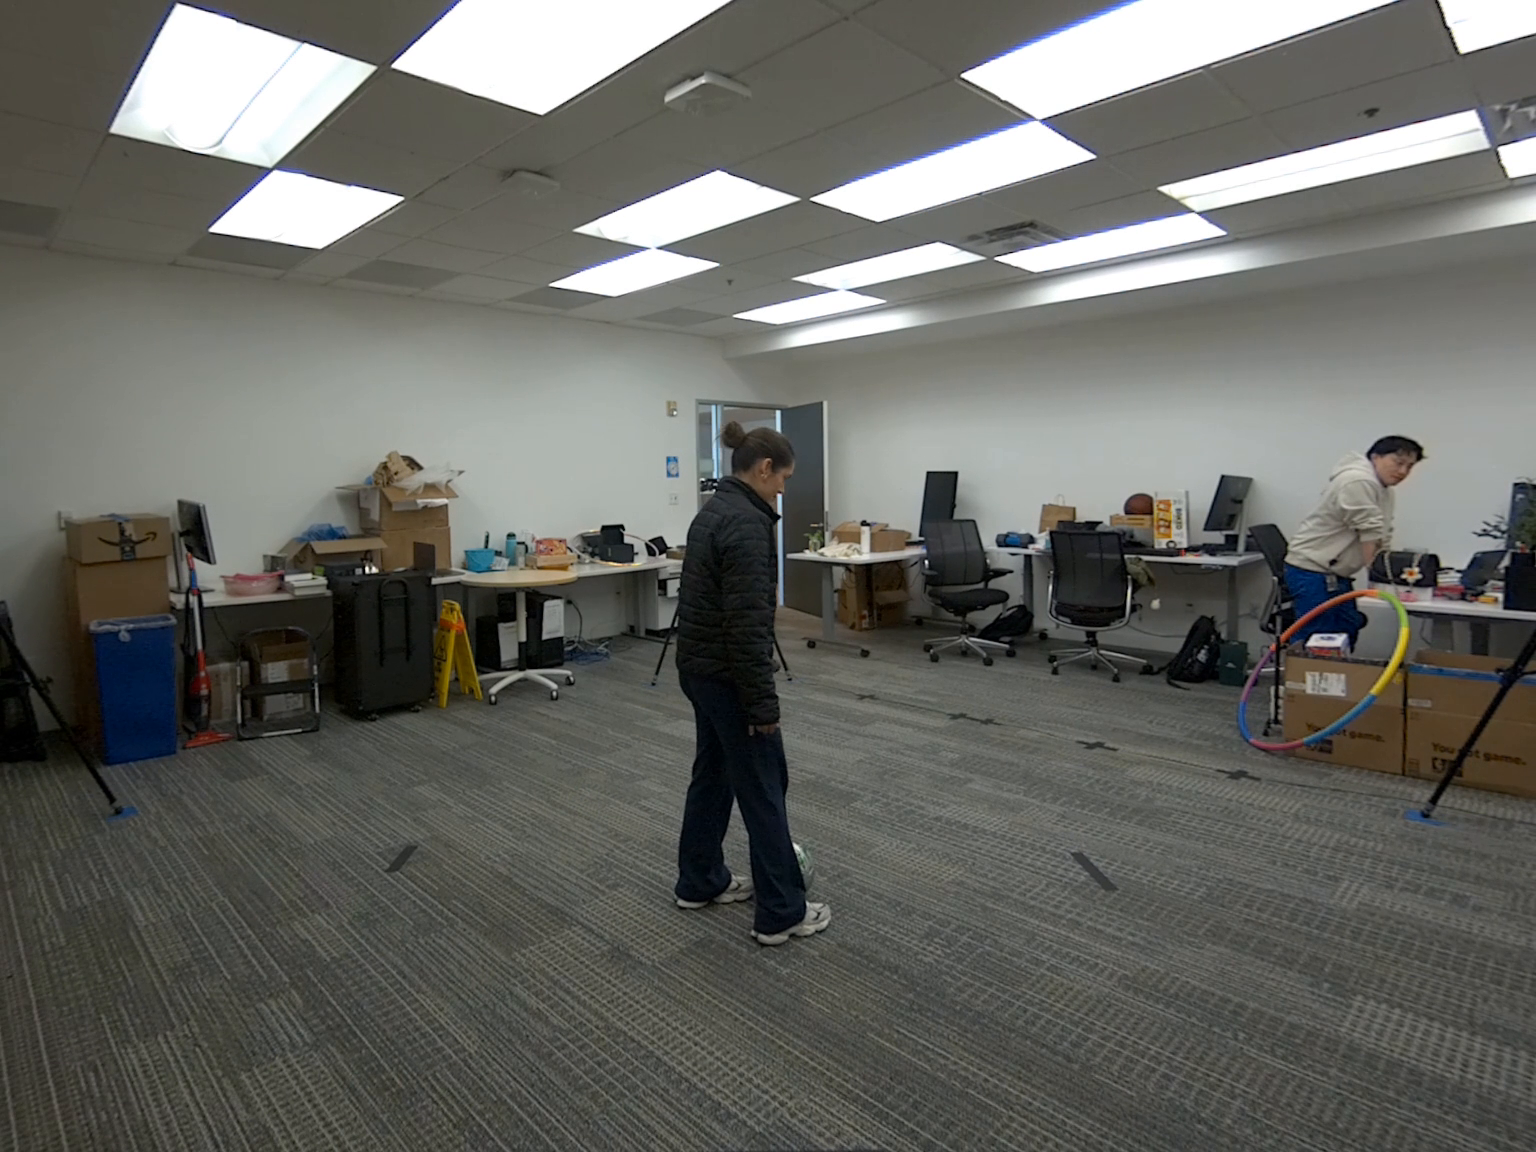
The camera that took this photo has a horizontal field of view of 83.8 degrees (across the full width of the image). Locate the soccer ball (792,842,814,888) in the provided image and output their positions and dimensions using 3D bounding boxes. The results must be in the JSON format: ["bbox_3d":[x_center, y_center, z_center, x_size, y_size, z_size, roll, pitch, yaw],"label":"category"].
[{"bbox_3d":[0.072,0.973,2.832,0.187,0.187,0.188,-1,5,-2],"label":"soccer ball"}]
